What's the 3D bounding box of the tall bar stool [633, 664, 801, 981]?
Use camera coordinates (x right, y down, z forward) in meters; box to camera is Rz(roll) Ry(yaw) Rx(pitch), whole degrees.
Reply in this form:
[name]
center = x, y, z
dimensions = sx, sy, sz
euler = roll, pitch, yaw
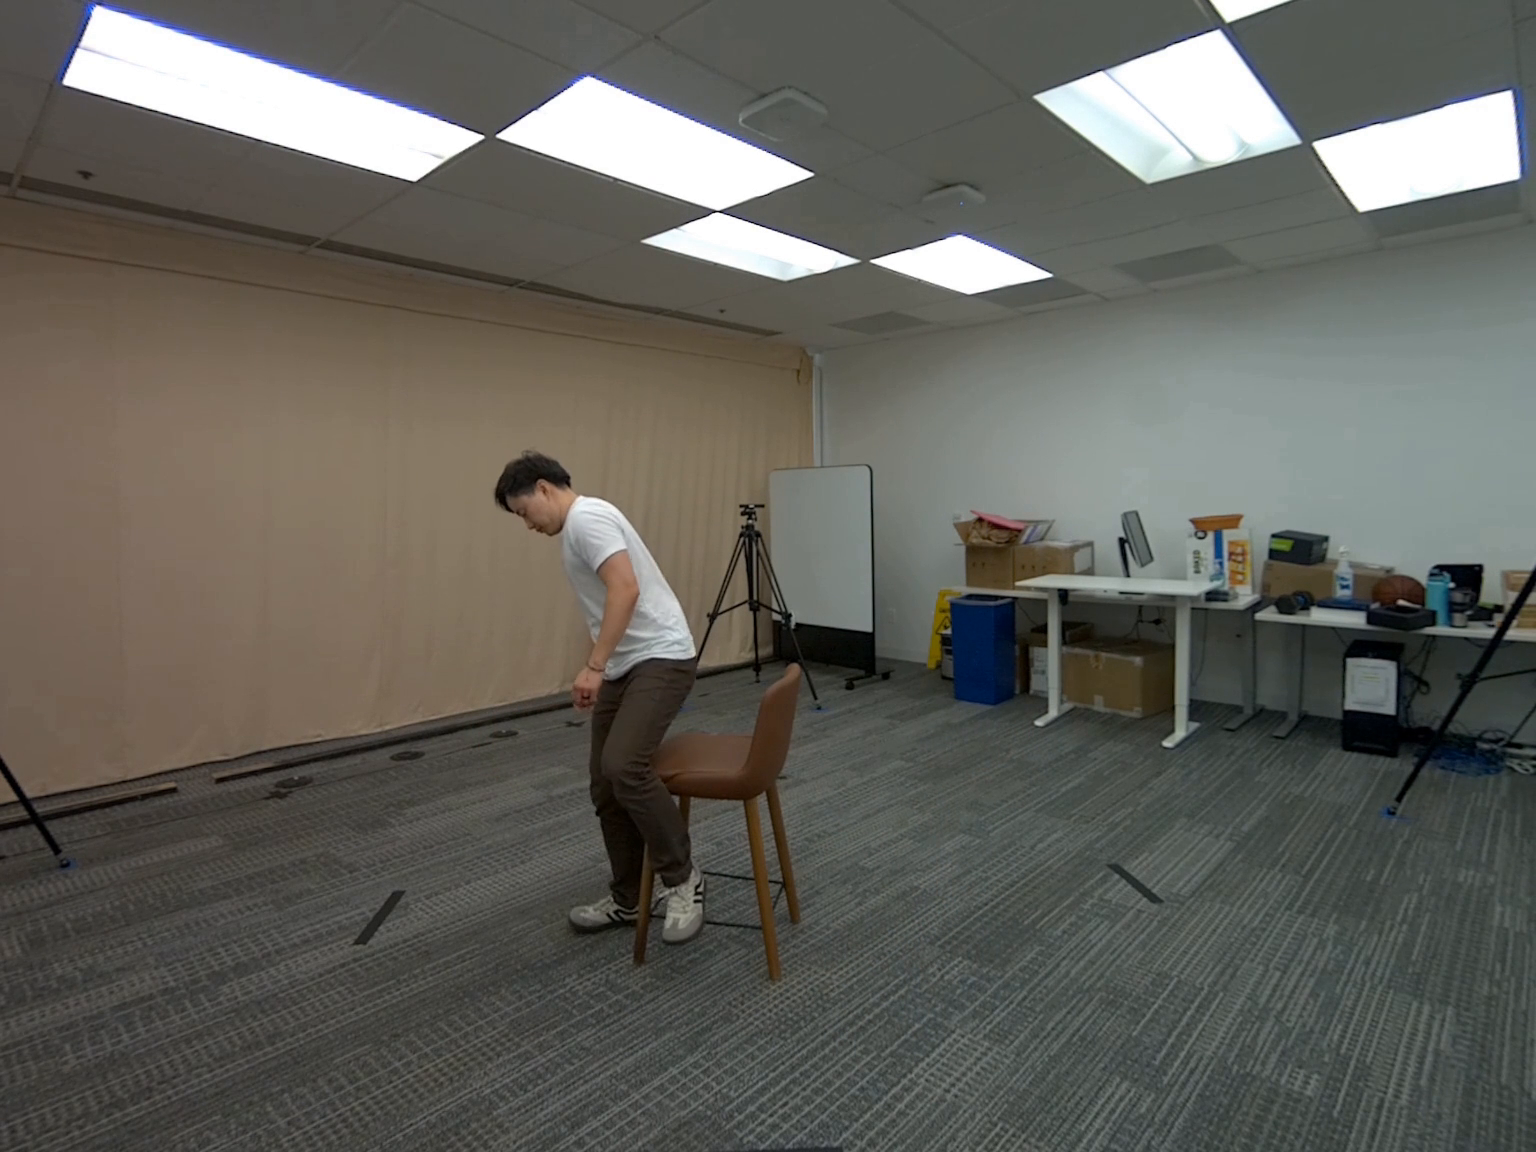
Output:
[tall bar stool]
center = -0.148, 0.737, 2.667
dimensions = 0.475, 0.887, 0.450
euler = 2, 4, 14
